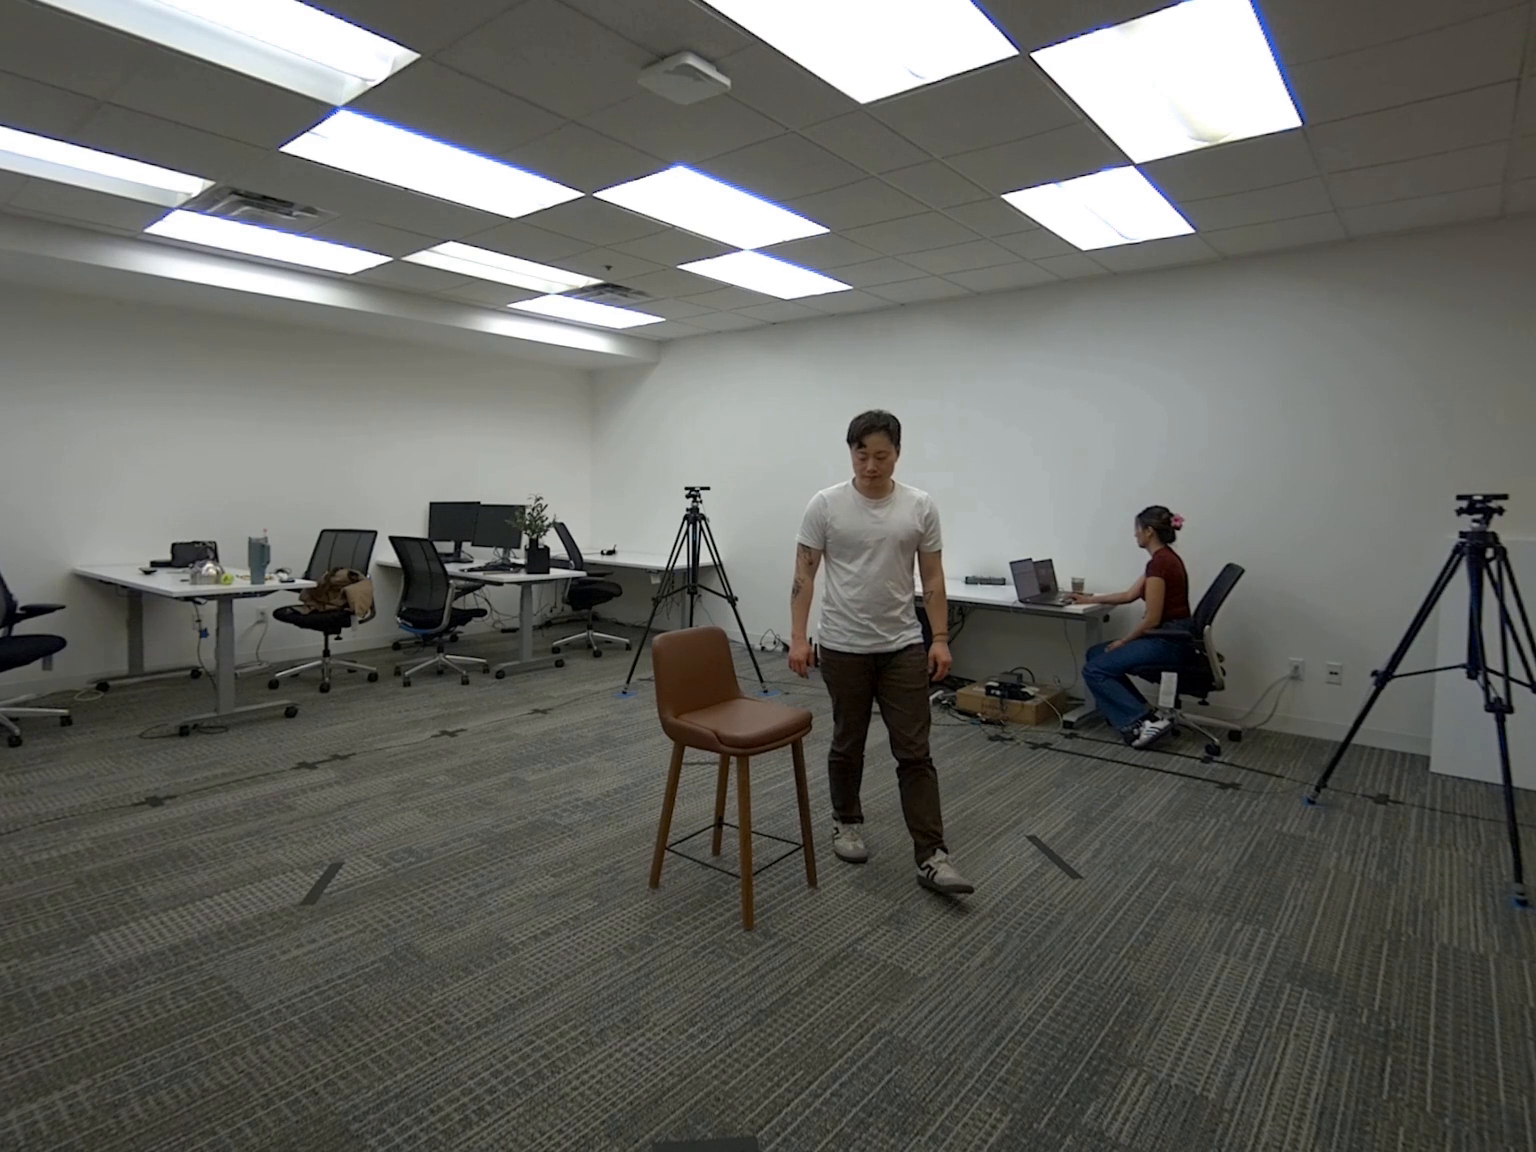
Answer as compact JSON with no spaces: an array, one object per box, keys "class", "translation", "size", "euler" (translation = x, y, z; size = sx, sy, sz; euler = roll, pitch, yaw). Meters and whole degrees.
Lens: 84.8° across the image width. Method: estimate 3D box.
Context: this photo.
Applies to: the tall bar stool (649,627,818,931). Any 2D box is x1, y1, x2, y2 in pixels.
[{"class":"tall bar stool","translation":[-0.129,0.649,2.942],"size":[0.482,0.889,0.443],"euler":[0,2,37]}]
